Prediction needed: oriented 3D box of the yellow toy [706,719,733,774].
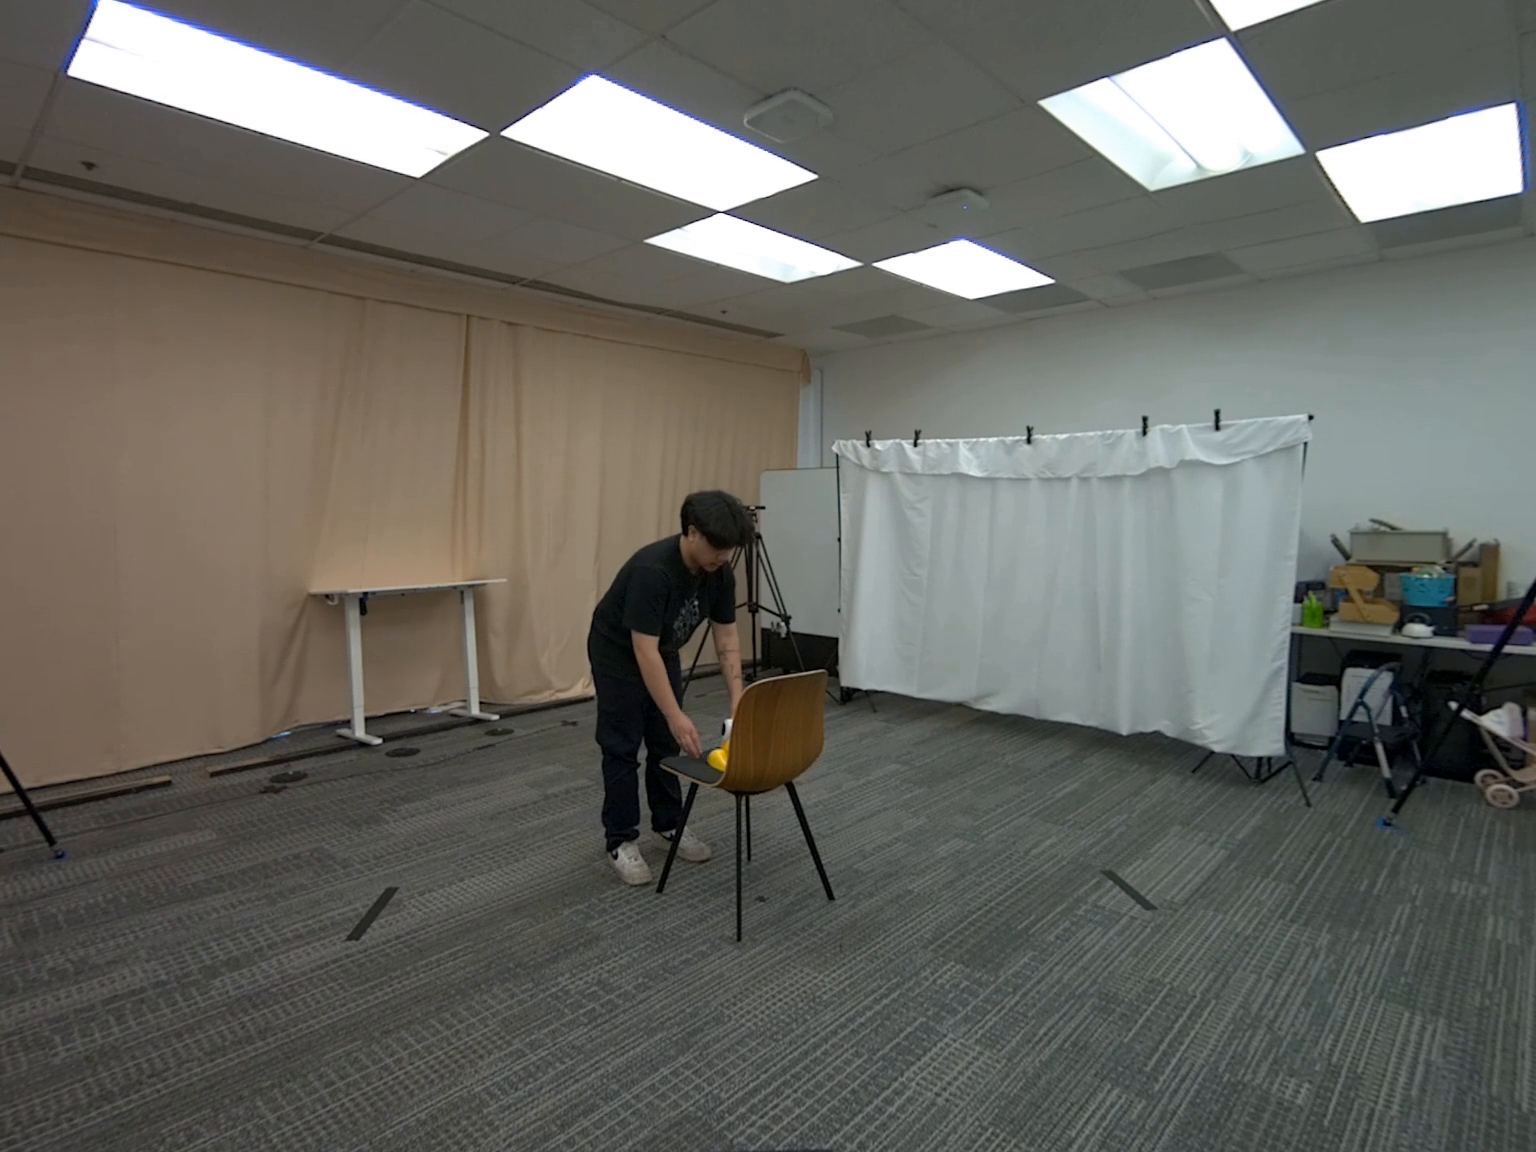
[{"bbox_3d":[-0.095,0.554,2.980,0.198,0.230,0.200,-4,10,-42],"label":"yellow toy"}]
